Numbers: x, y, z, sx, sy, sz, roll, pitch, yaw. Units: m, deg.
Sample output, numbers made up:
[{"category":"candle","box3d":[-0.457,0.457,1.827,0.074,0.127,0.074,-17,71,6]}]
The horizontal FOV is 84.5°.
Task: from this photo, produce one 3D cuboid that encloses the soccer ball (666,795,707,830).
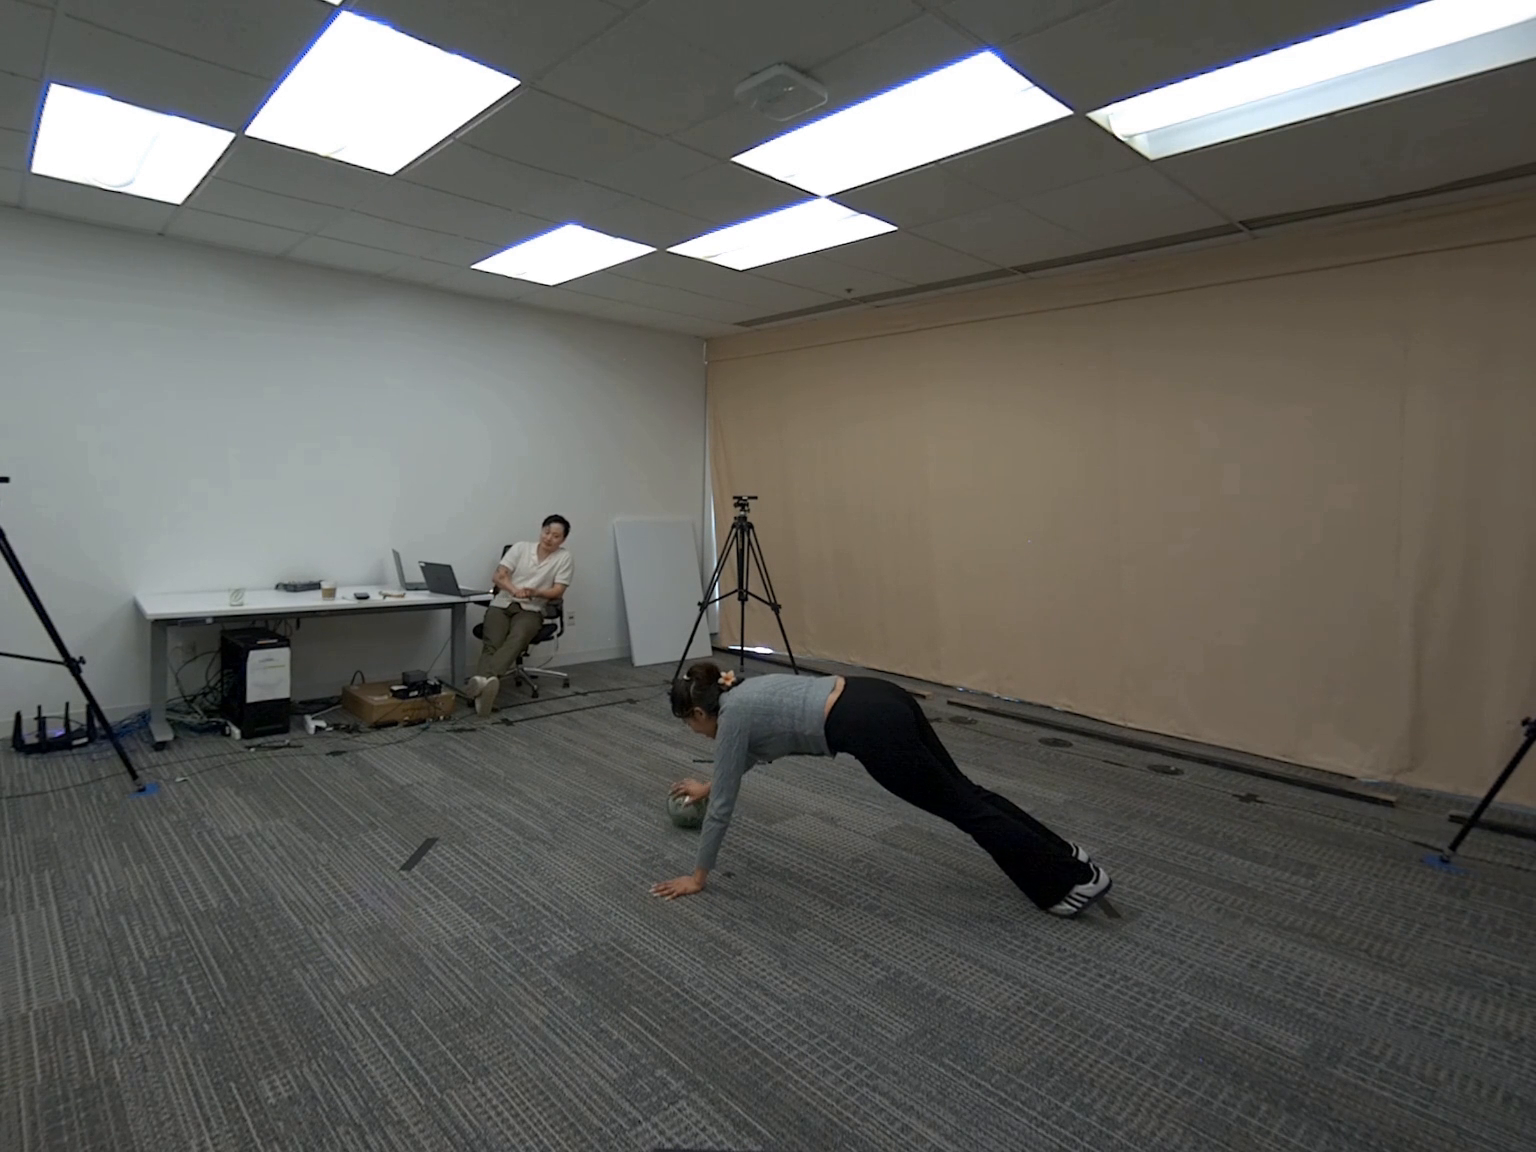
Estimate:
[{"category":"soccer ball","box3d":[-0.348,0.964,3.554,0.187,0.187,0.188,1,4,-1]}]
